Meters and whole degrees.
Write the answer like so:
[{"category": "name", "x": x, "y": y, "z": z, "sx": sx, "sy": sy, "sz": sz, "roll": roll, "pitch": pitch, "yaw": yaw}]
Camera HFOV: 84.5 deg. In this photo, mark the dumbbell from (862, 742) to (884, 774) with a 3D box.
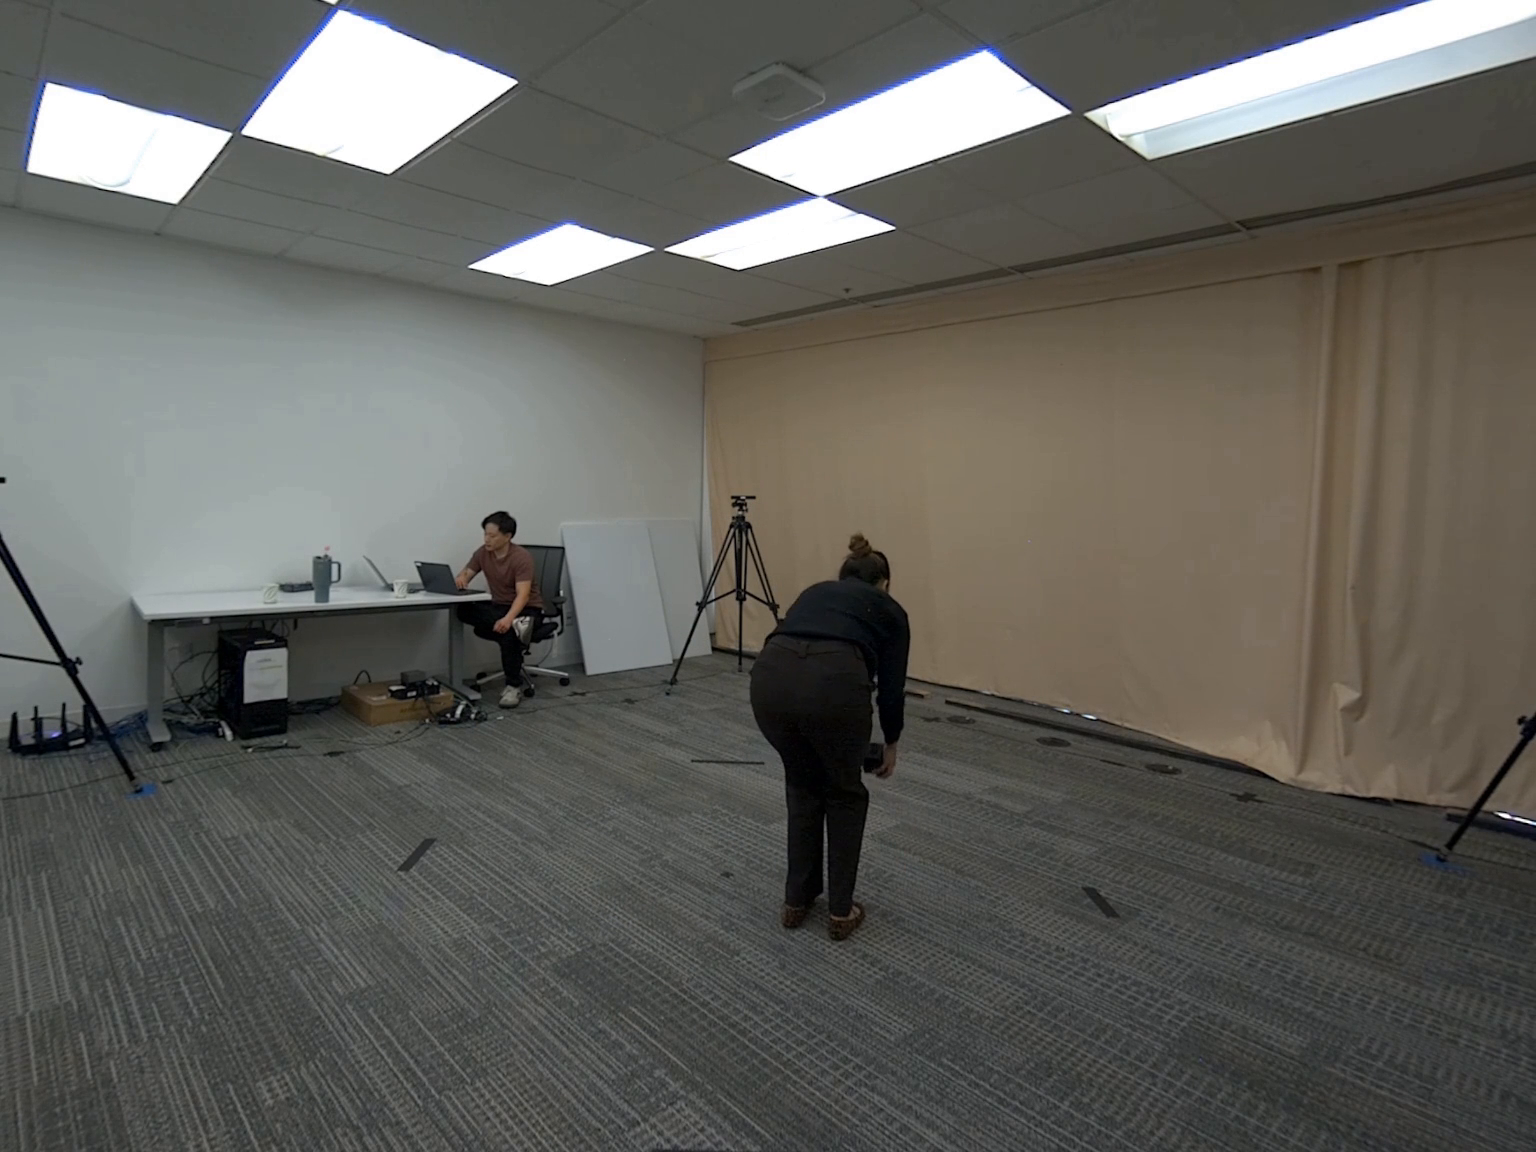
[{"category": "dumbbell", "x": 0.274, "y": 0.641, "z": 3.003, "sx": 0.299, "sy": 0.105, "sz": 0.124, "roll": 2, "pitch": 48, "yaw": 22}]
